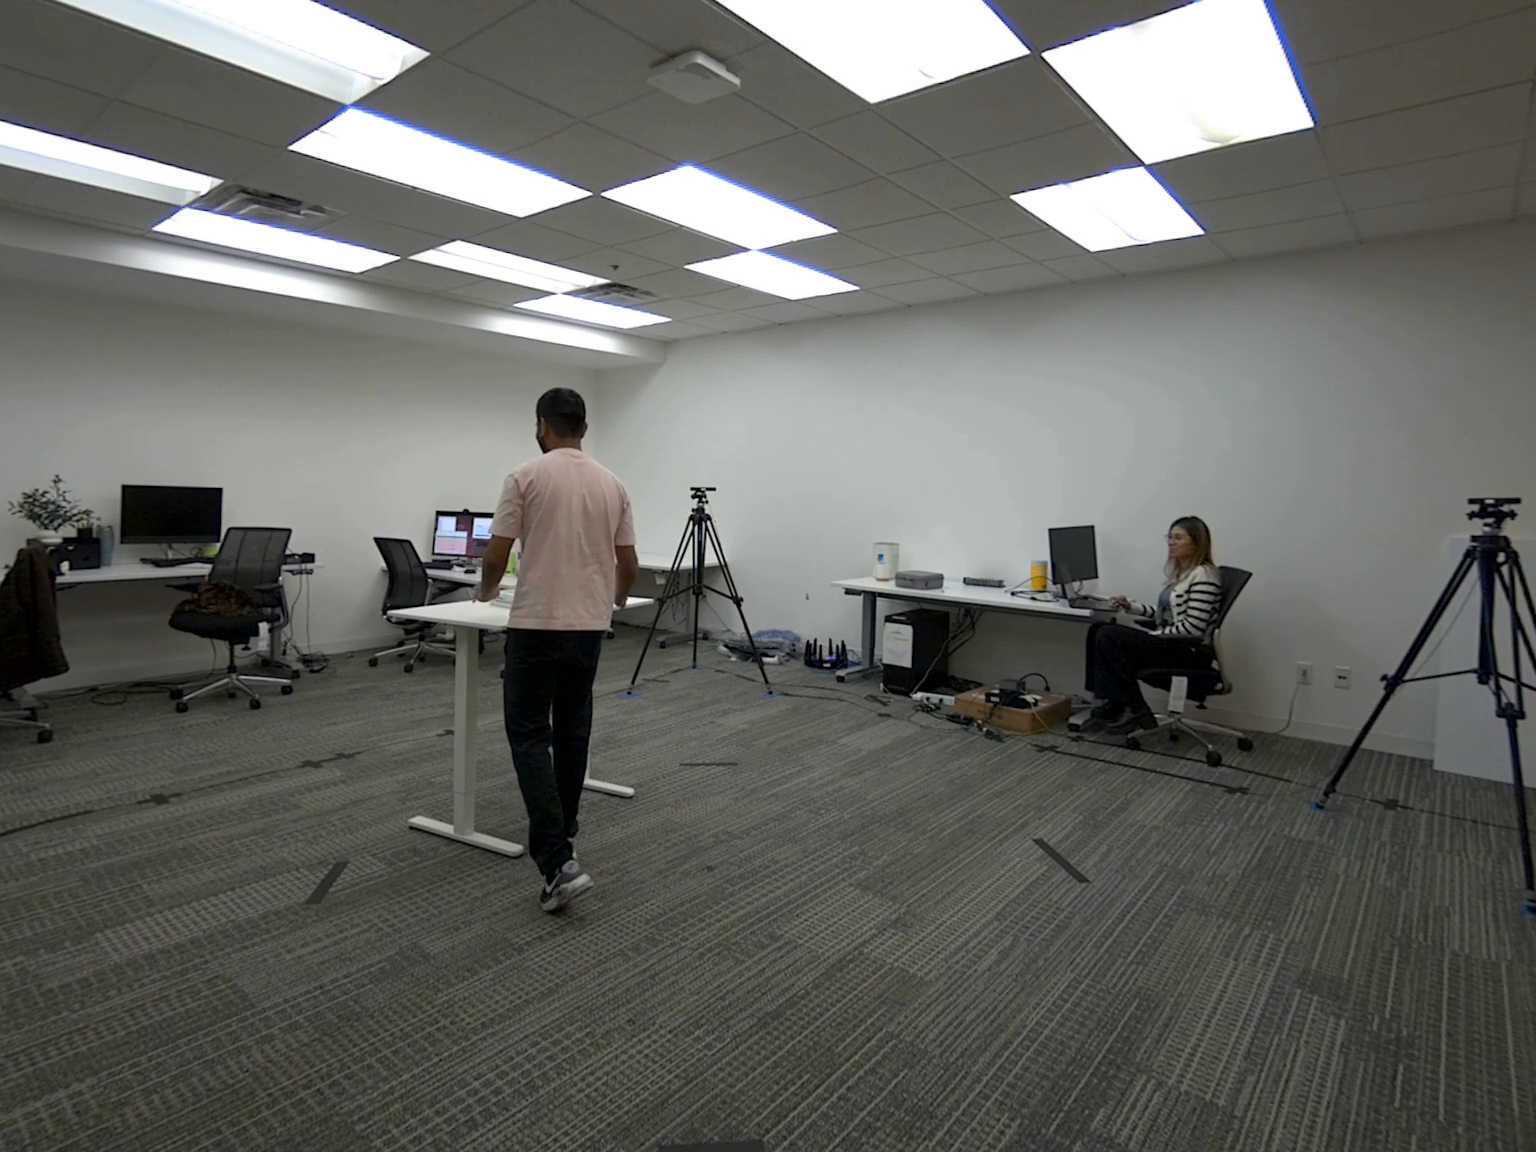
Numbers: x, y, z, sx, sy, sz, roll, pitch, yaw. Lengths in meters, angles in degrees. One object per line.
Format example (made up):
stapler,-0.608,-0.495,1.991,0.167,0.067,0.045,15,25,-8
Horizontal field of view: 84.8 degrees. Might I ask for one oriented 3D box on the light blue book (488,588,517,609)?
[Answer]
light blue book,-1.032,0.094,3.571,0.270,0.059,0.185,6,6,41
